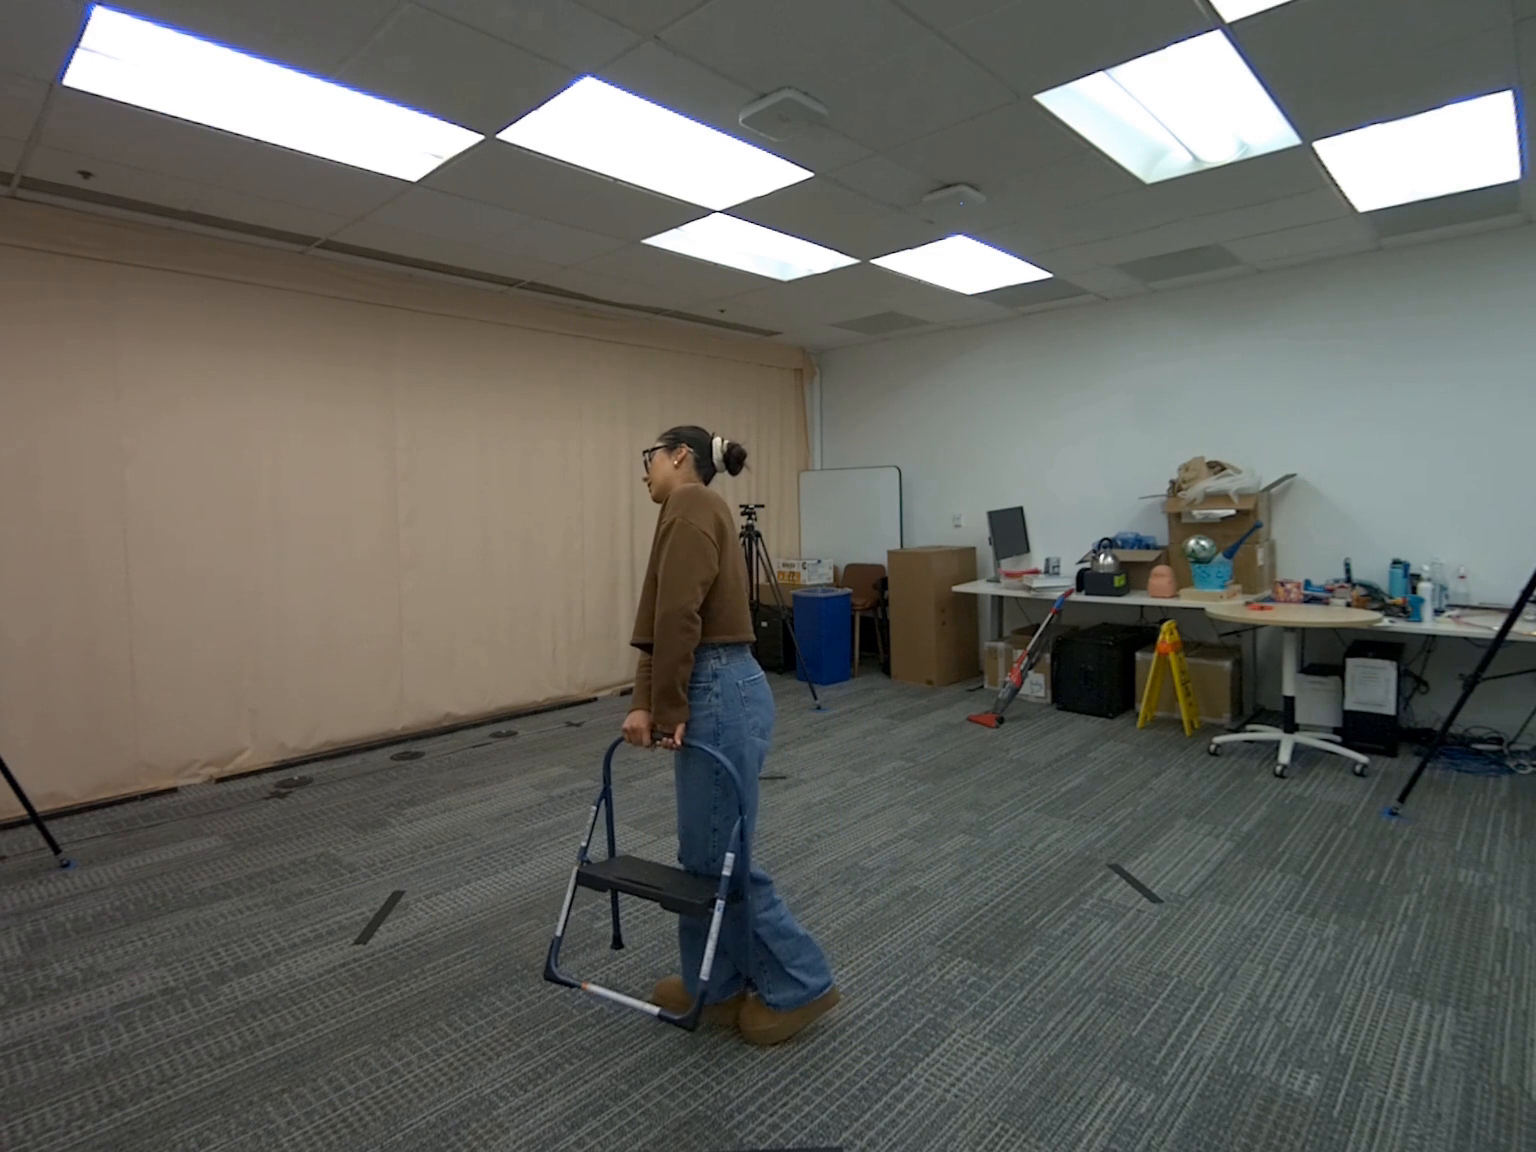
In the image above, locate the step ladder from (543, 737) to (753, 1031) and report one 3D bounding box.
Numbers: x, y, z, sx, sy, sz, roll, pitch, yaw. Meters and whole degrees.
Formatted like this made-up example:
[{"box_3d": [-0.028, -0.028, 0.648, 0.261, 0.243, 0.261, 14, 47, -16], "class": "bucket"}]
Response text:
[{"box_3d": [-0.258, 0.708, 2.088, 0.441, 0.608, 0.339, 3, -8, 24], "class": "step ladder"}]
